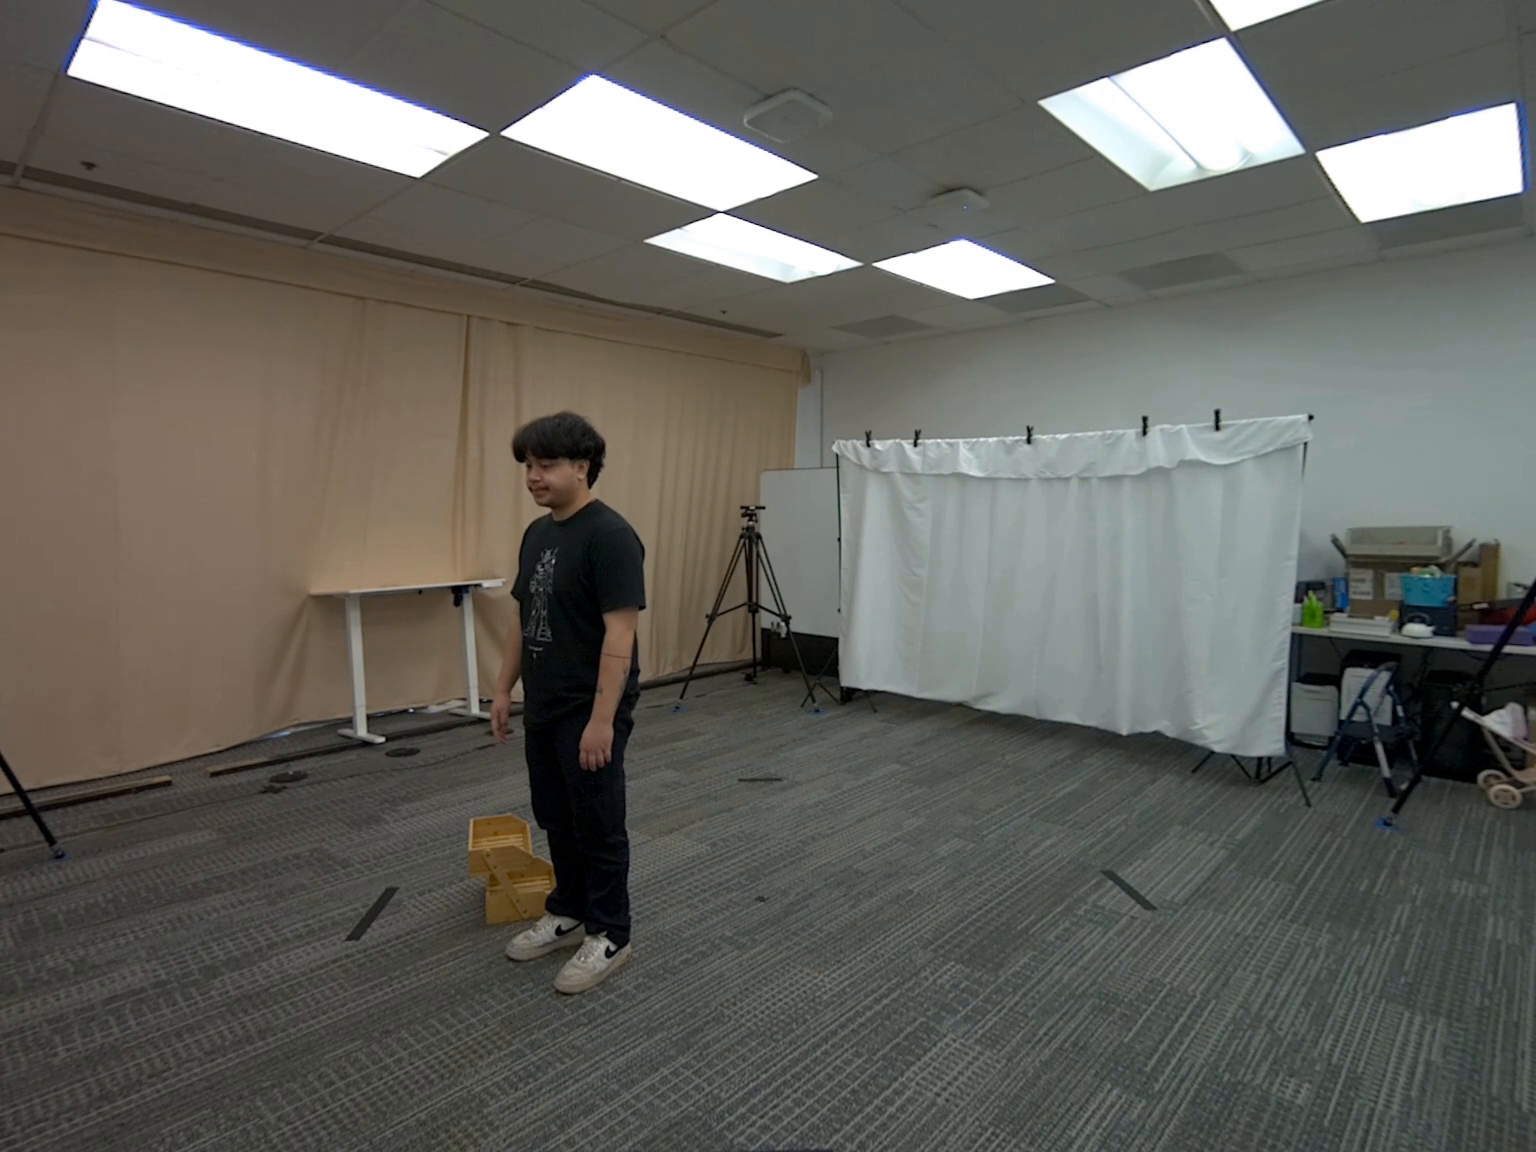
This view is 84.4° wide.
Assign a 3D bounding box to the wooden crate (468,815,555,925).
[{"bbox_3d":[-0.895,1.016,2.975,0.297,0.273,0.331,-2,4,-17],"label":"wooden crate"}]
